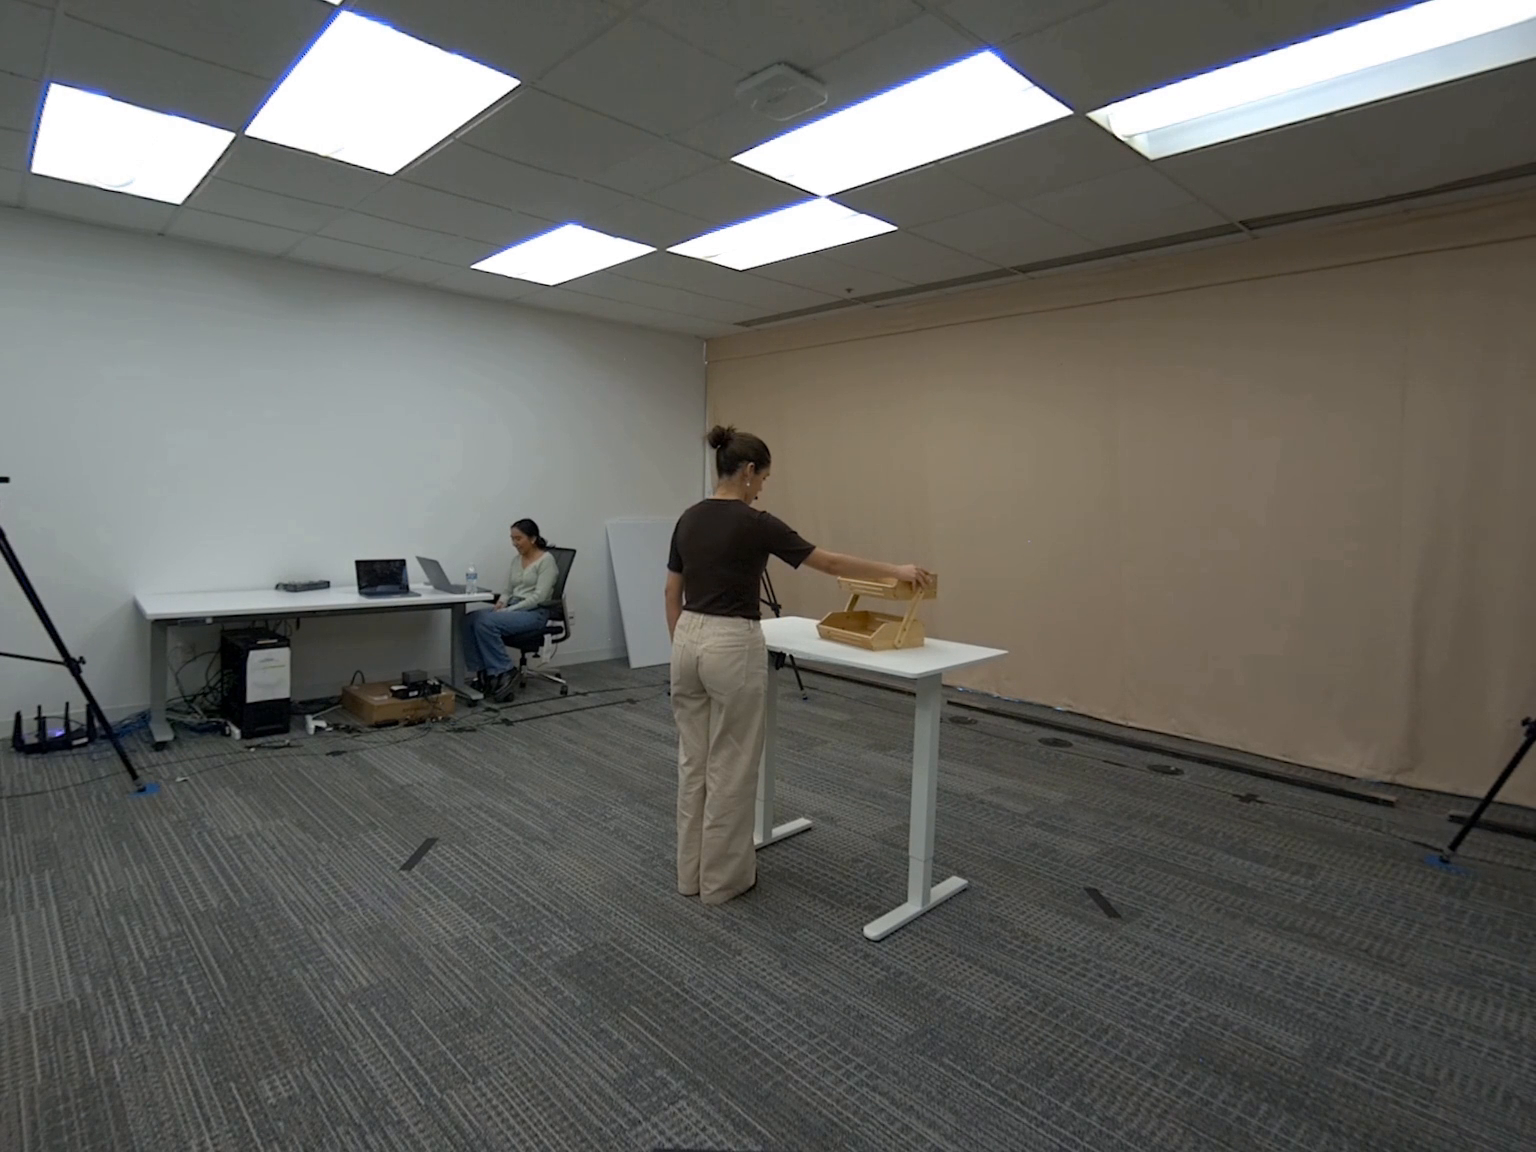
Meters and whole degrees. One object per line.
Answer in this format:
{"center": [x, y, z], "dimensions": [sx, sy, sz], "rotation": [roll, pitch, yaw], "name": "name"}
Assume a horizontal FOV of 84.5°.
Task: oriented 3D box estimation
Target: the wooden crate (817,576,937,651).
{"center": [0.386, 0.107, 3.046], "dimensions": [0.295, 0.272, 0.332], "rotation": [0, 5, -34], "name": "wooden crate"}
